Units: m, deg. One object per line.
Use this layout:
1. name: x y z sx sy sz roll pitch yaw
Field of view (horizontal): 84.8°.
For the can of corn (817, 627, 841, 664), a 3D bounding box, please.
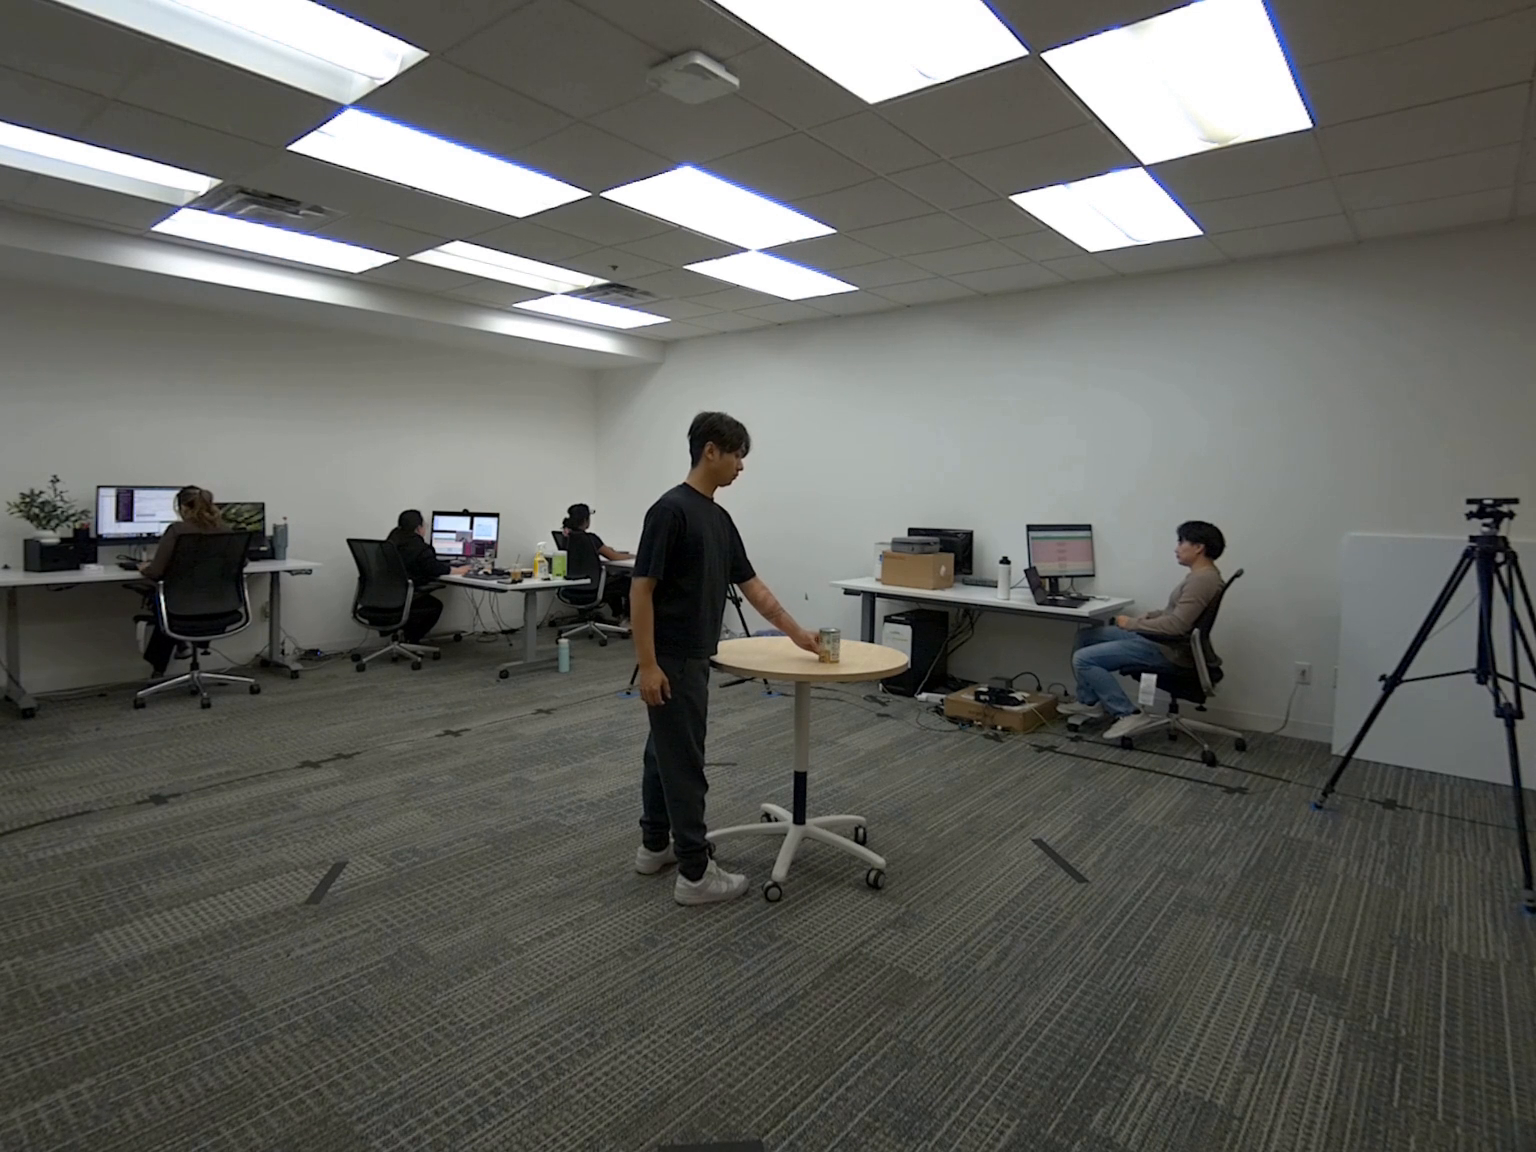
1. can of corn: 0.208 0.245 3.002 0.074 0.111 0.074 1 4 -2
